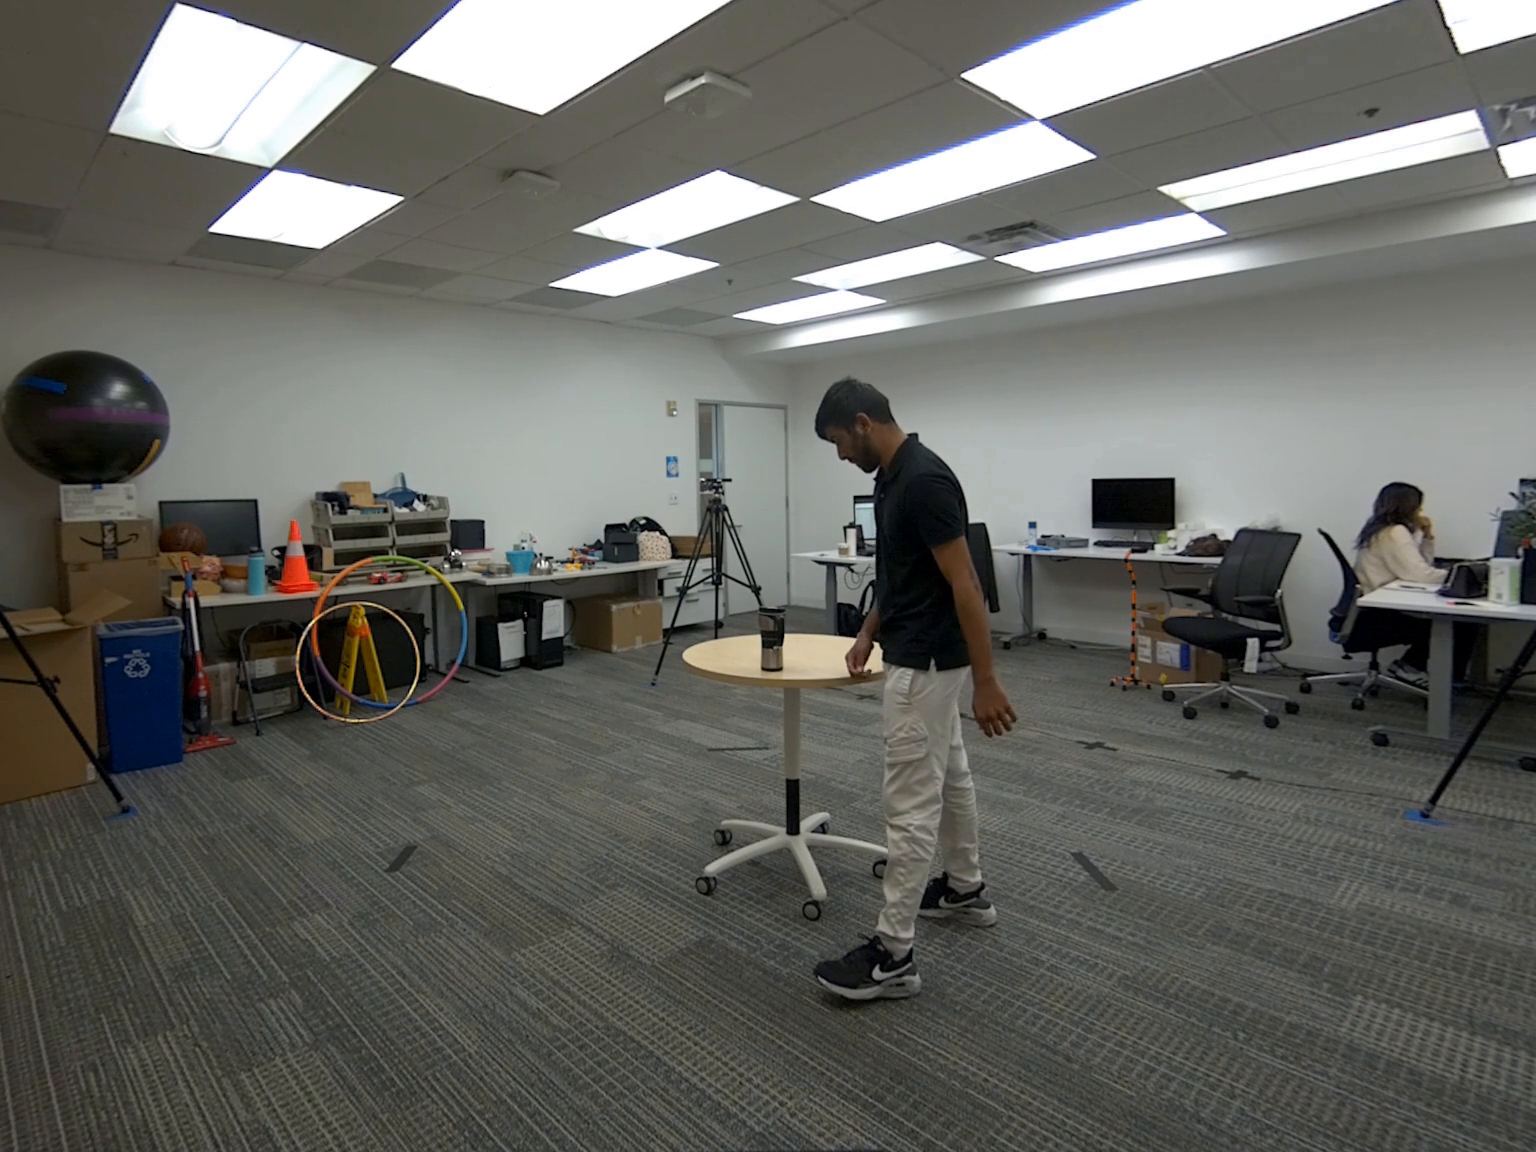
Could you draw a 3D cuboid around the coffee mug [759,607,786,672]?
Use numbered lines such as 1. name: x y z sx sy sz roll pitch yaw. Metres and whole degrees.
1. coffee mug: 0.011 0.203 2.713 0.089 0.202 0.120 3 3 16
